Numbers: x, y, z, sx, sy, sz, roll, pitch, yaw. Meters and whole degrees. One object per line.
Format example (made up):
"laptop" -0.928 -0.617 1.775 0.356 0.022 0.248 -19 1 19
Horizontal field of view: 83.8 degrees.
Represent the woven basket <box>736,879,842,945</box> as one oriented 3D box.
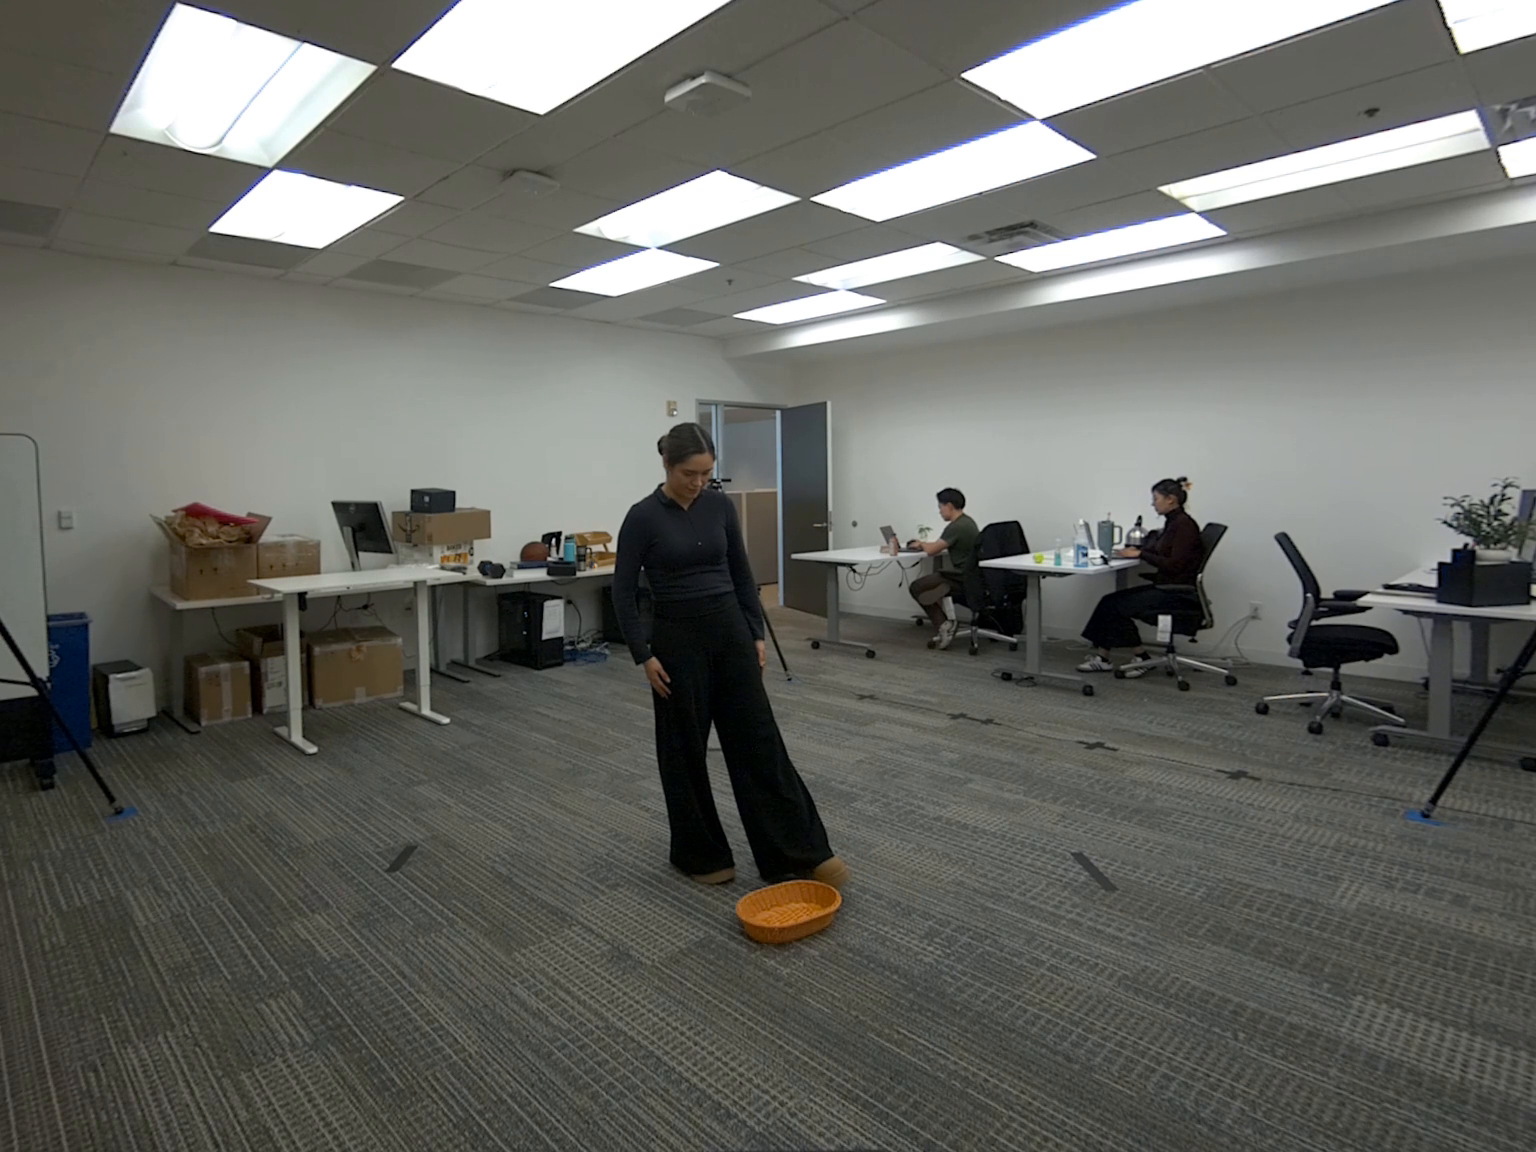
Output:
"woven basket" 0.068 1.054 2.669 0.343 0.073 0.259 -5 7 -27
